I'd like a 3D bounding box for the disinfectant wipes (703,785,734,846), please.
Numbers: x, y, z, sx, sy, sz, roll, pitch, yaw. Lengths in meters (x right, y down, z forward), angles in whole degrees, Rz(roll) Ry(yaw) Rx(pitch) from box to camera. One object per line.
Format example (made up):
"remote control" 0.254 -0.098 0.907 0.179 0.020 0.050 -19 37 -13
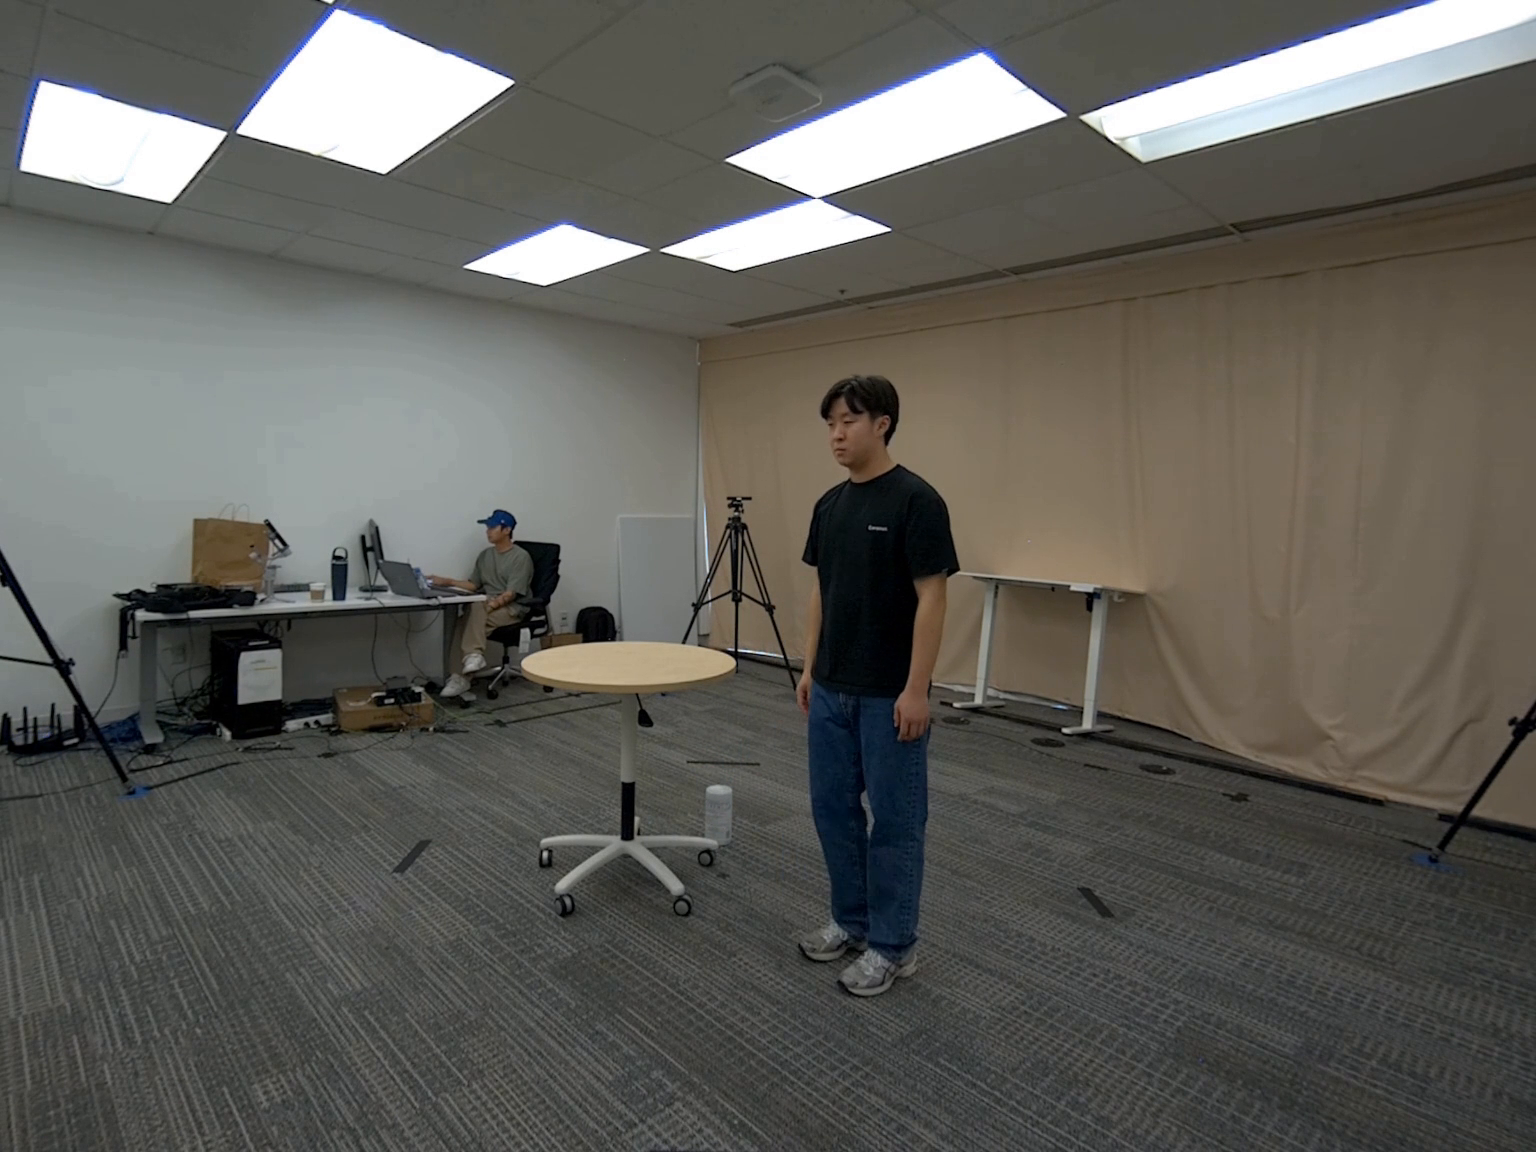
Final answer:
"disinfectant wipes" -0.204 0.976 3.419 0.118 0.217 0.118 0 1 -1
